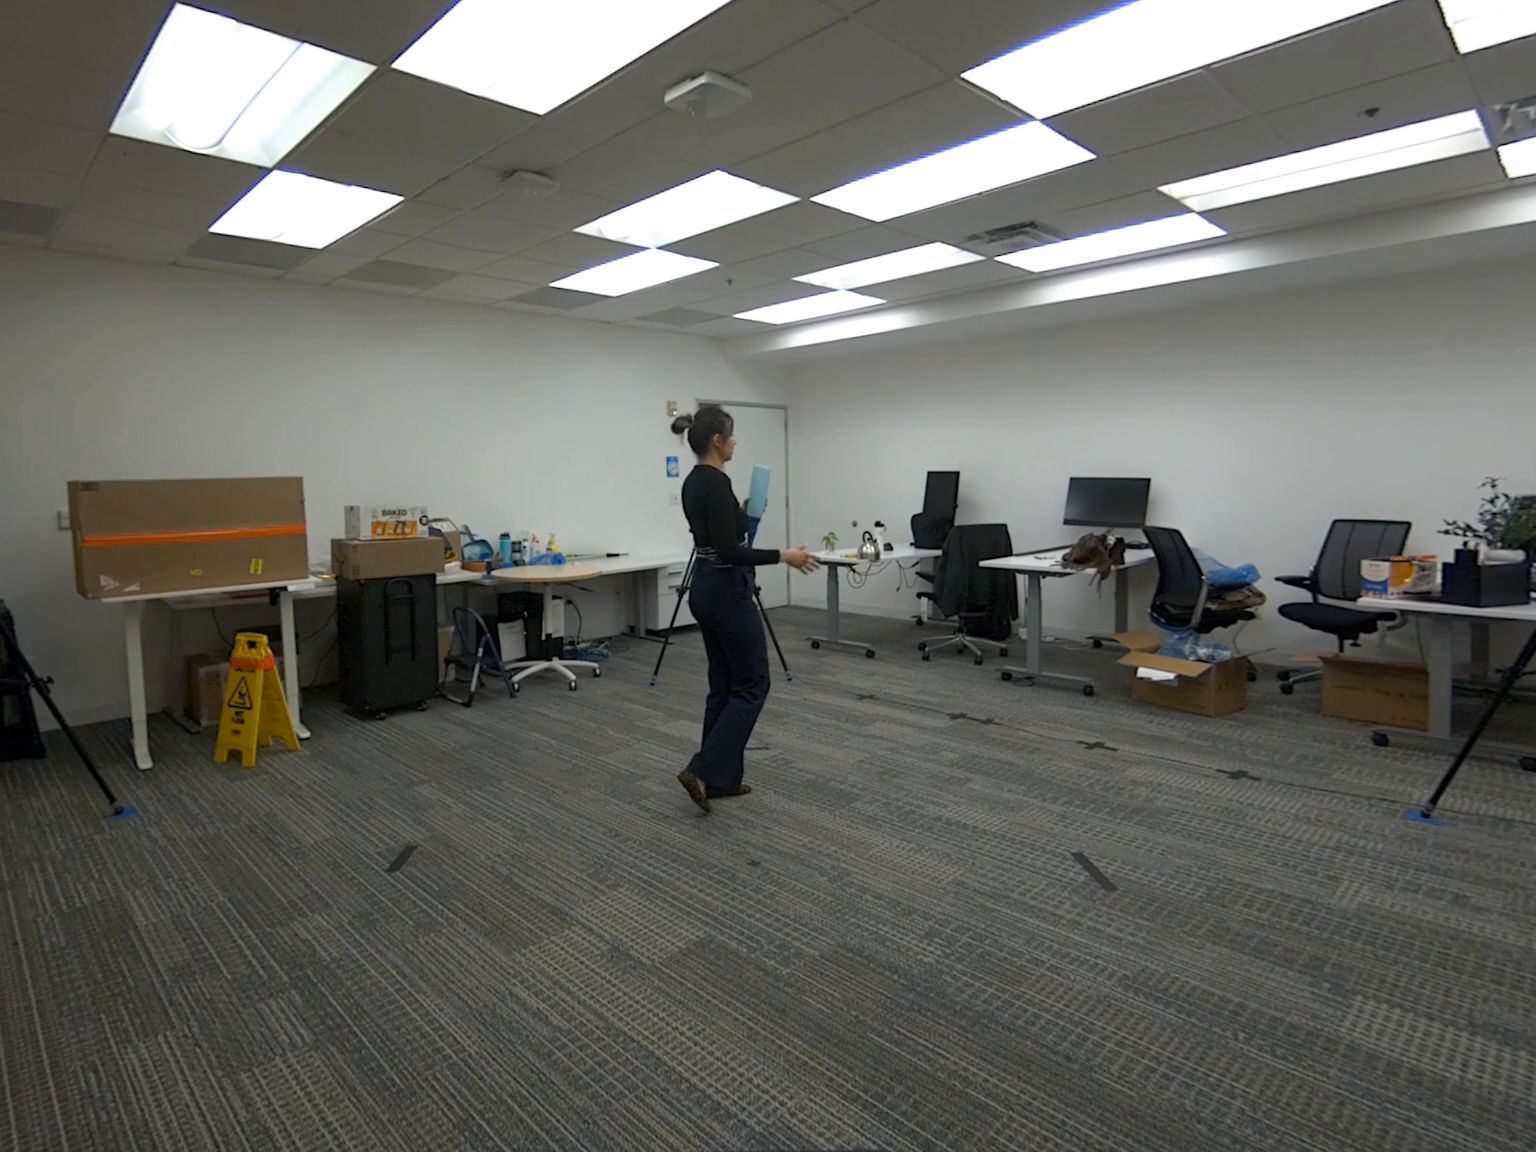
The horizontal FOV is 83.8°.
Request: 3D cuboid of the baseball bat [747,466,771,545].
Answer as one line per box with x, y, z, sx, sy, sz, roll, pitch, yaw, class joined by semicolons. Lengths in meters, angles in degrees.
-0.066;-0.263;4.057;0.089;0.546;0.088;10;-7;-1;baseball bat
